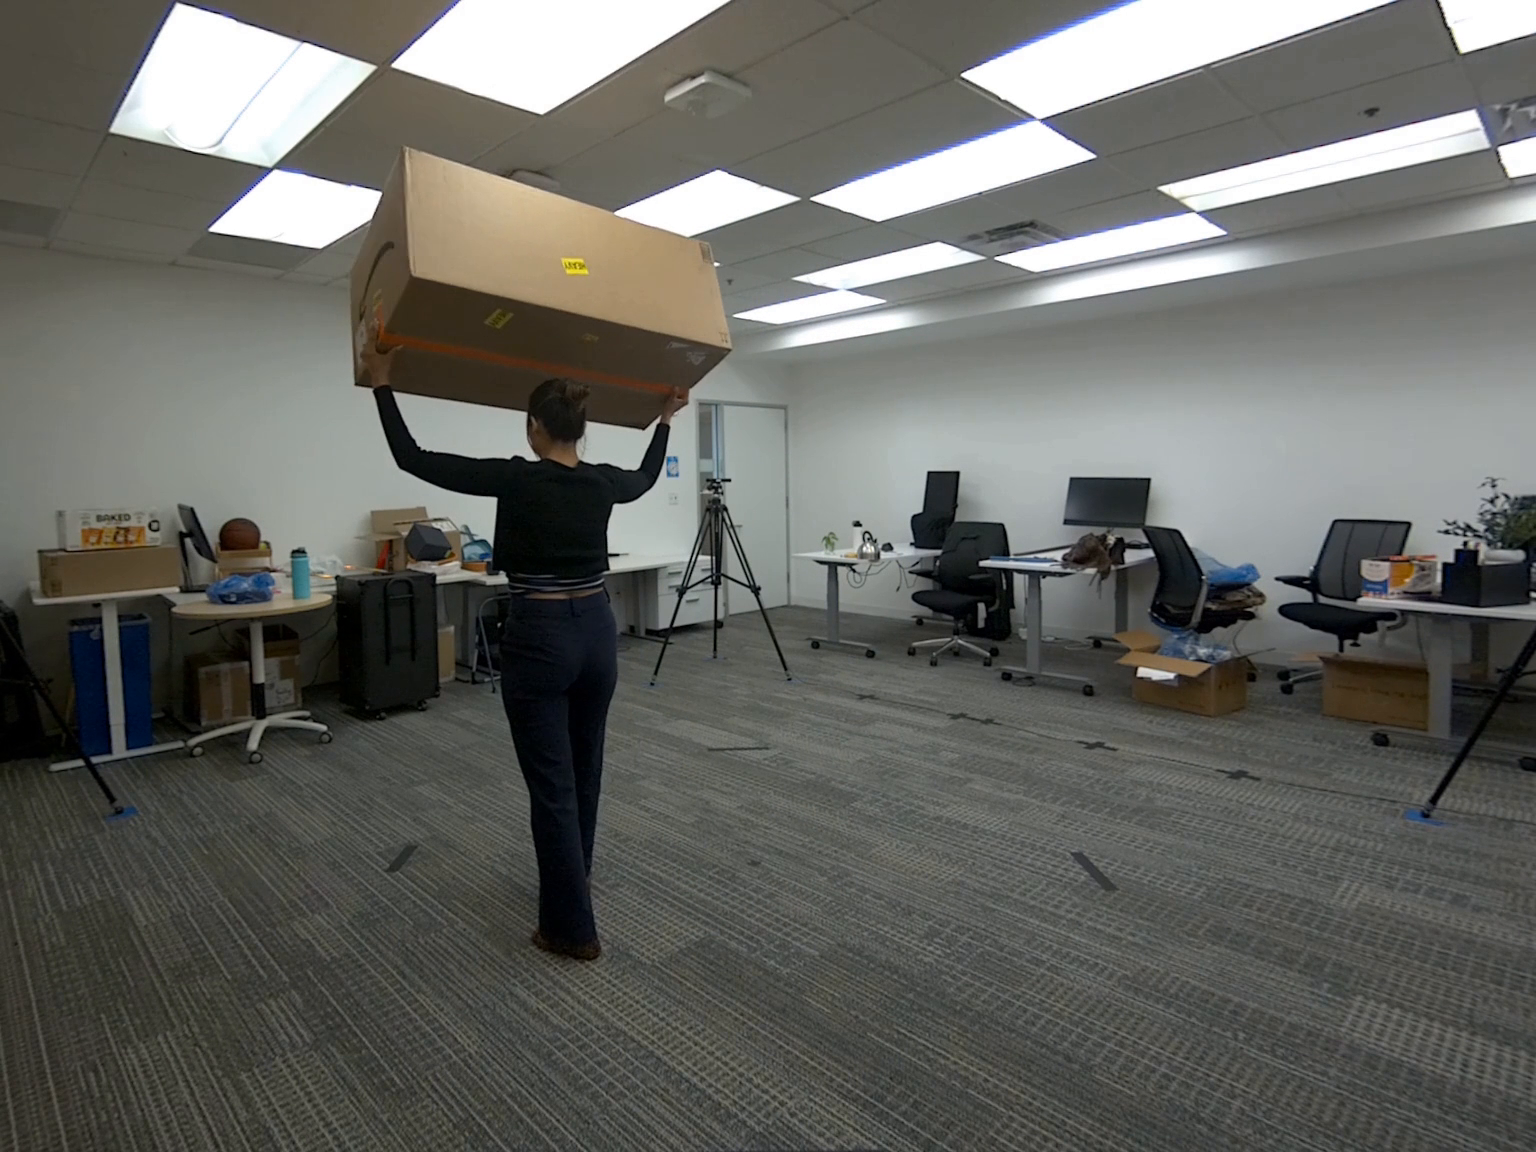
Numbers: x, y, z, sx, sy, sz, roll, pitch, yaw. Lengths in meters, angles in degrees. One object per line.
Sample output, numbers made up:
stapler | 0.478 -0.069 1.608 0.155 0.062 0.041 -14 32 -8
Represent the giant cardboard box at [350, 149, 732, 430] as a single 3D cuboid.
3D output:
giant cardboard box | -0.709 -0.836 2.722 0.996 0.434 0.584 2 -21 -38
